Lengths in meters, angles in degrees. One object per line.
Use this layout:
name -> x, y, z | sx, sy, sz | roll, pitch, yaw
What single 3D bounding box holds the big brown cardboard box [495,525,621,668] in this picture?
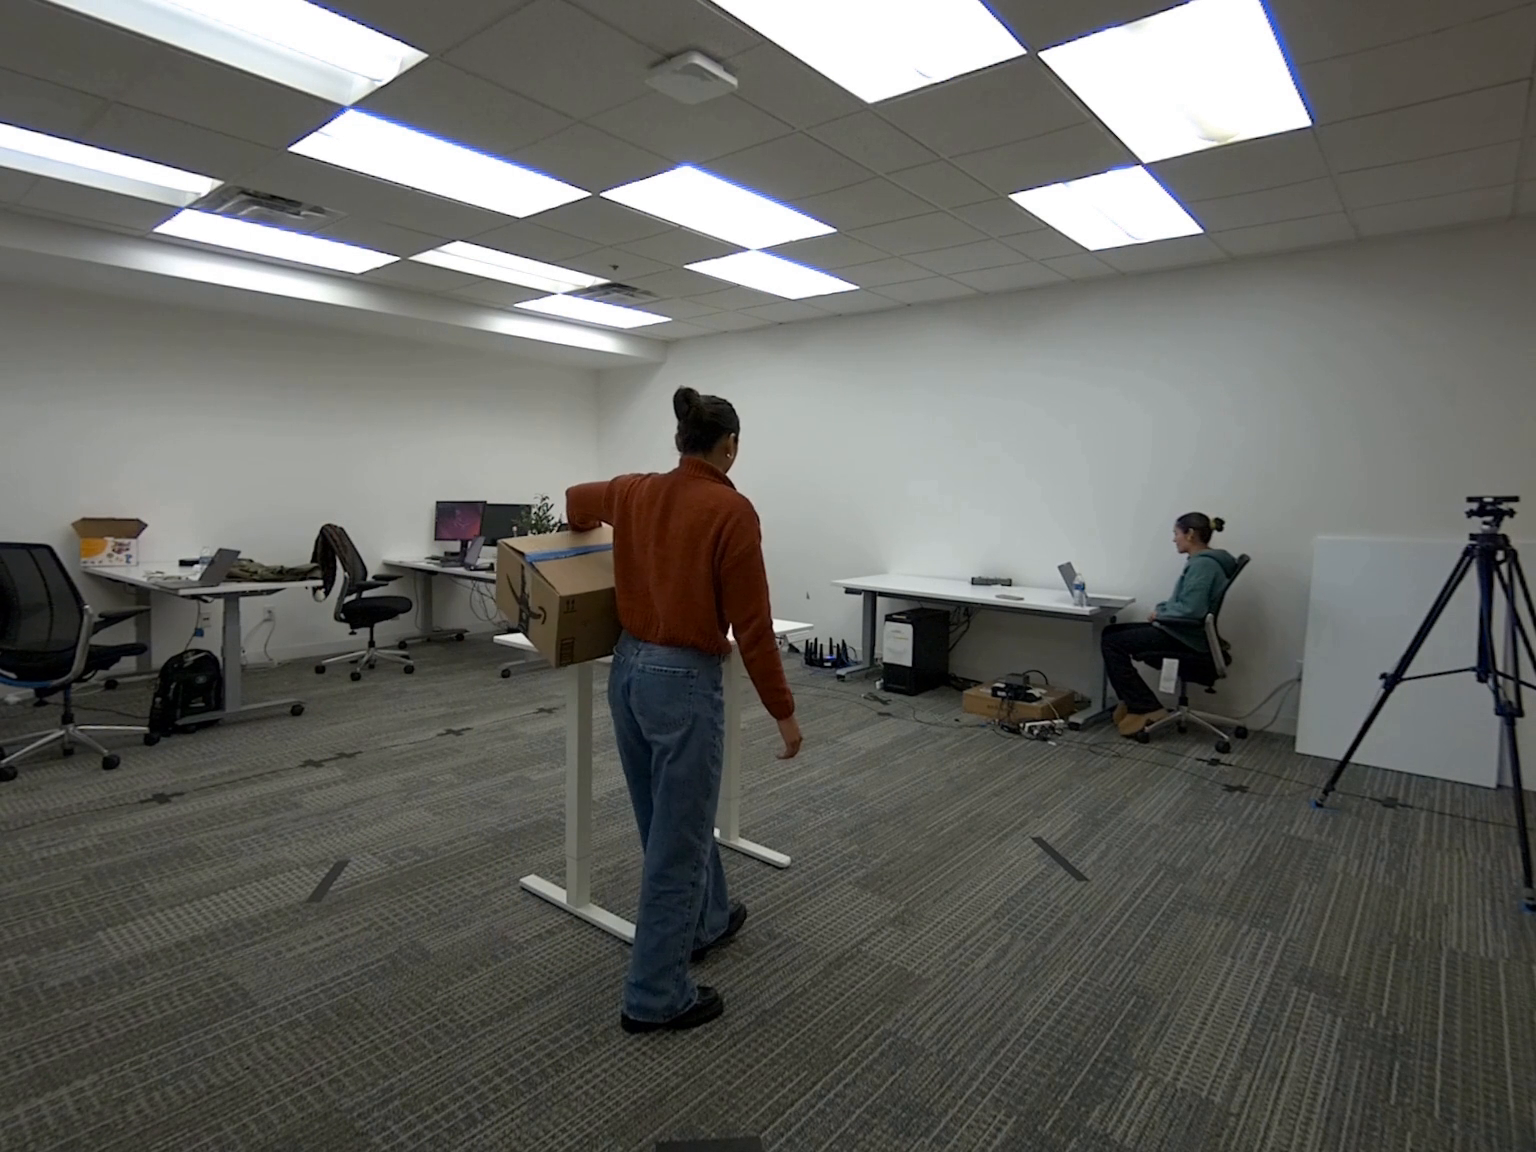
big brown cardboard box -> -0.465, 0.028, 2.538 | 0.574, 0.229, 0.435 | -12, 29, -37
